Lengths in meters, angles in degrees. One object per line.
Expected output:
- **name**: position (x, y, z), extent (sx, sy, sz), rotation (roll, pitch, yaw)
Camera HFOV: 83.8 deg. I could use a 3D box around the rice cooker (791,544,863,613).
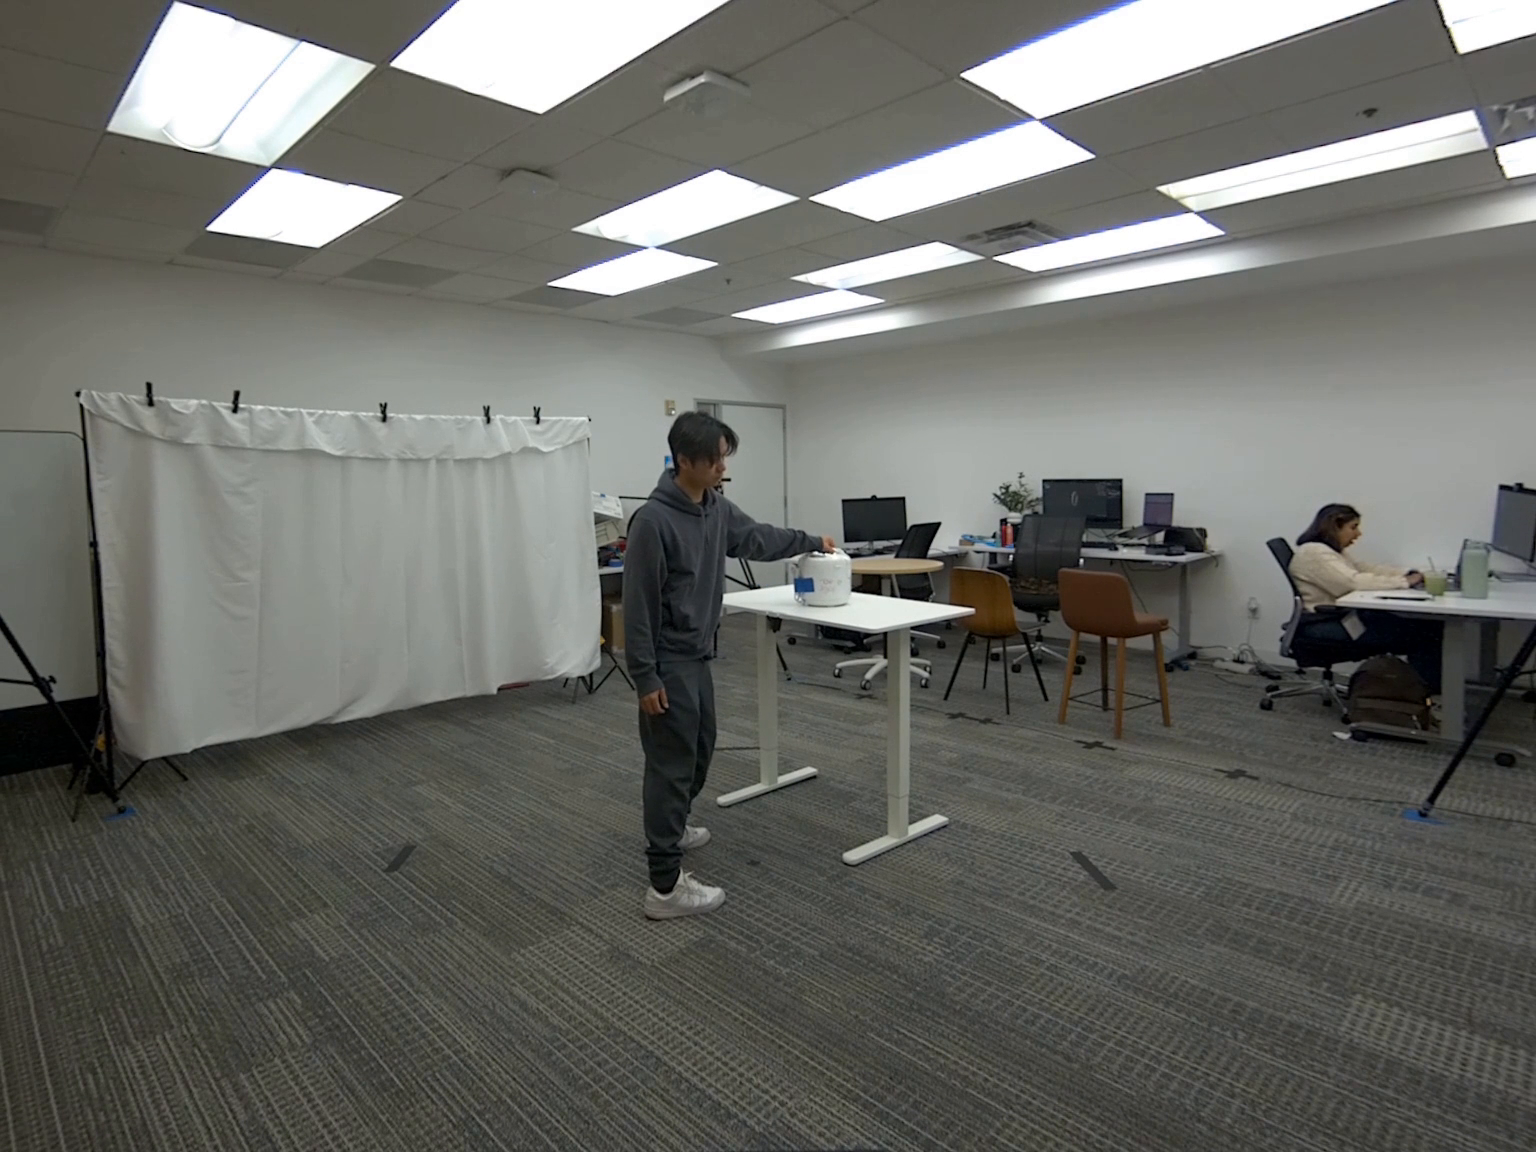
- **rice cooker**: position (0.238, 0.000, 3.462), extent (0.226, 0.231, 0.213), rotation (3, 8, 27)
